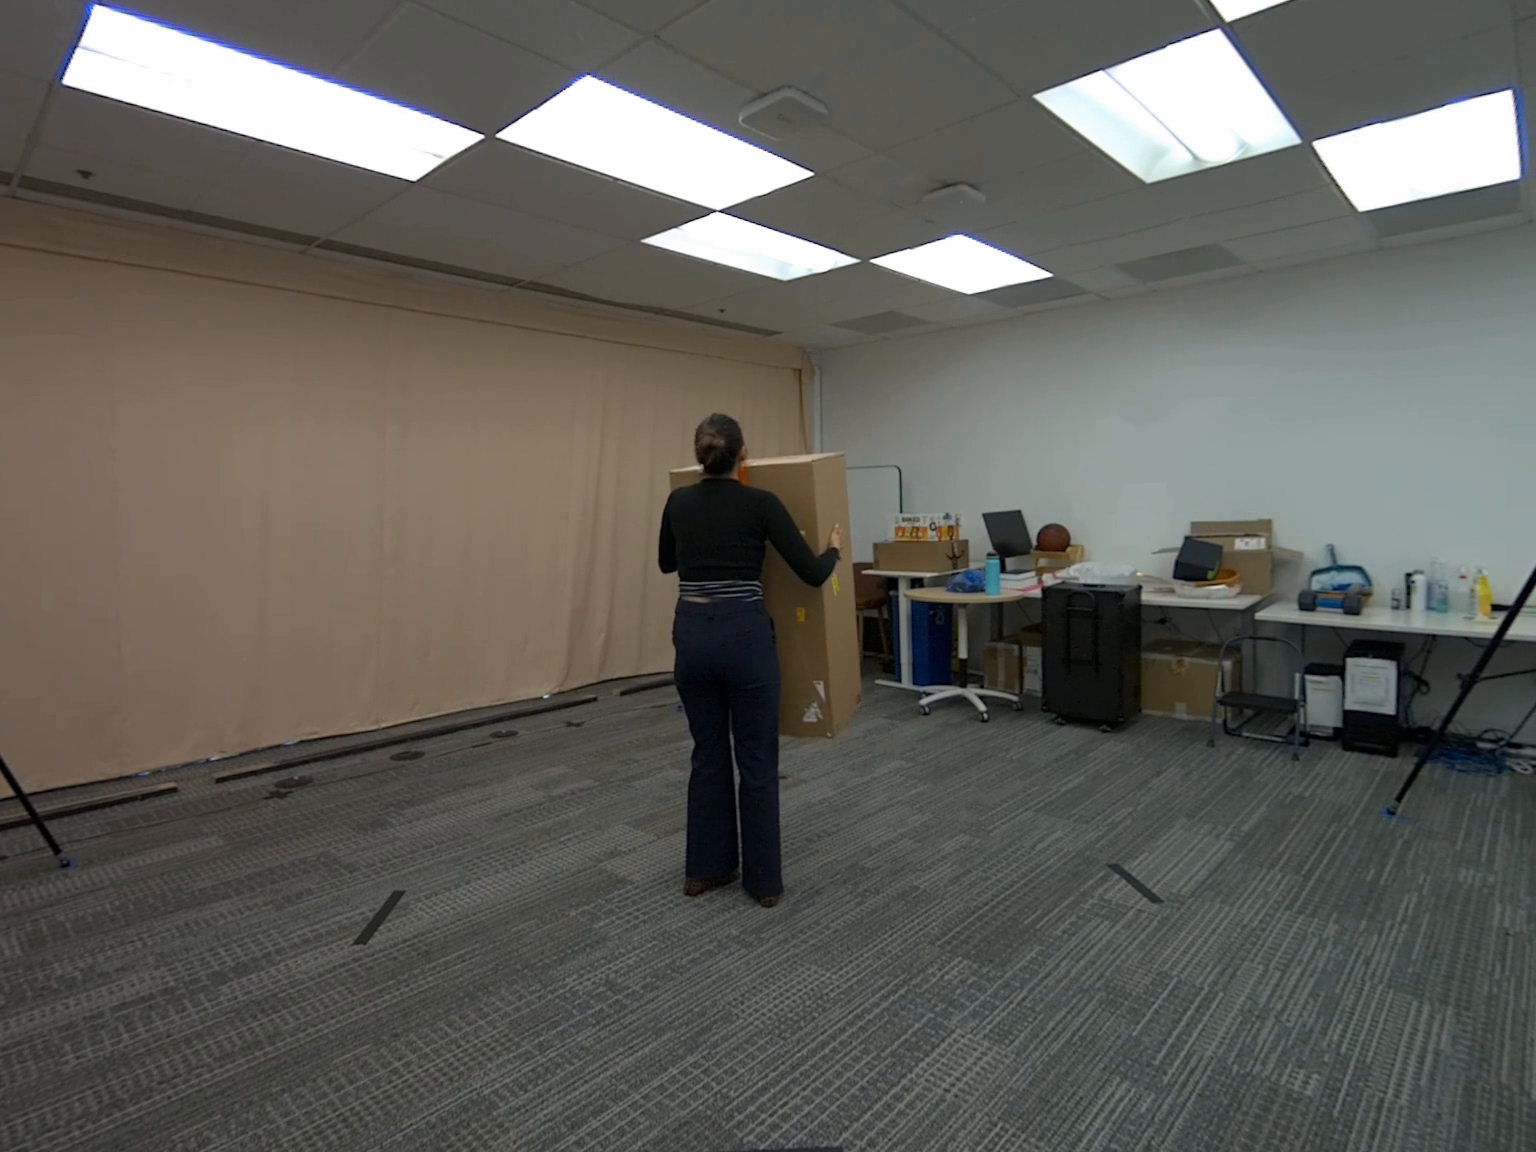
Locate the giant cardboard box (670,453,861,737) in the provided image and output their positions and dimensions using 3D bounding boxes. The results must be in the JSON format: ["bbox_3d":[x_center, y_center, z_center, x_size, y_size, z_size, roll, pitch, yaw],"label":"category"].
[{"bbox_3d":[0.006,0.063,3.315,0.591,1.020,0.419,-1,9,23],"label":"giant cardboard box"}]
